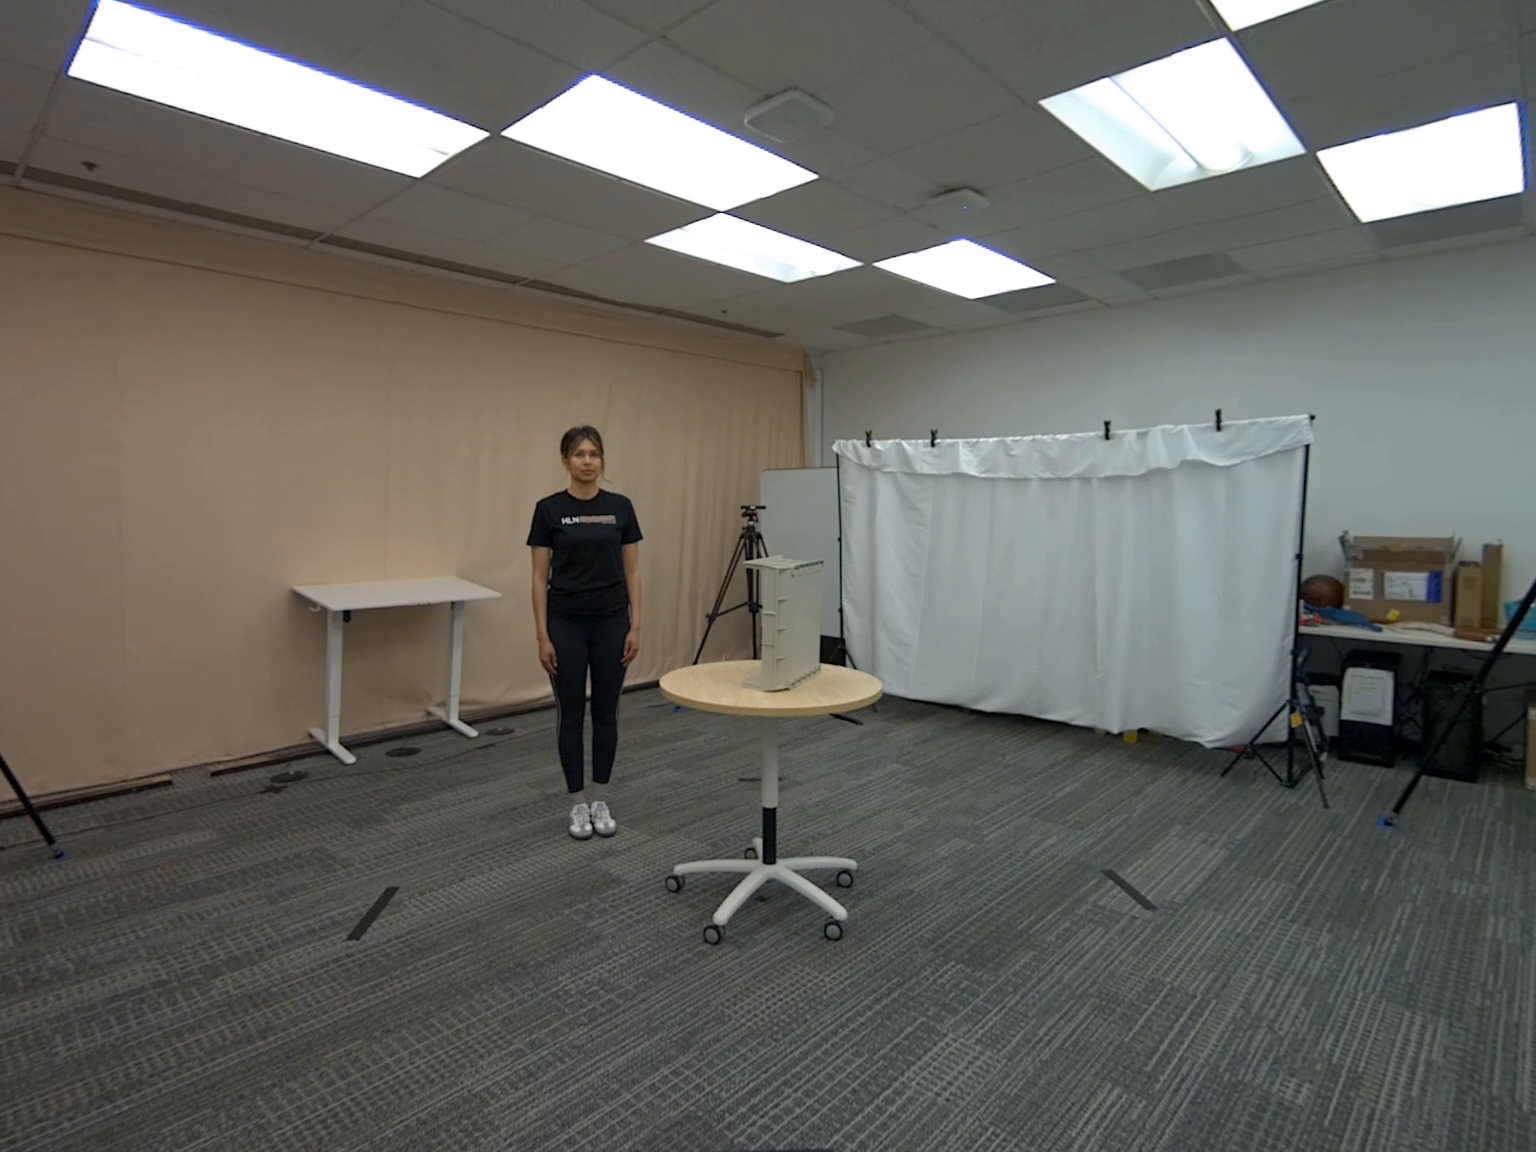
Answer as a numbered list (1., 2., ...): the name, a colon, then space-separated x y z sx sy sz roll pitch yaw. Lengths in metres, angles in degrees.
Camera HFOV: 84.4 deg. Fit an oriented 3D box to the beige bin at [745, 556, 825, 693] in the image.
1. beige bin: 0.052 0.156 2.919 0.194 0.421 0.369 2 5 24
